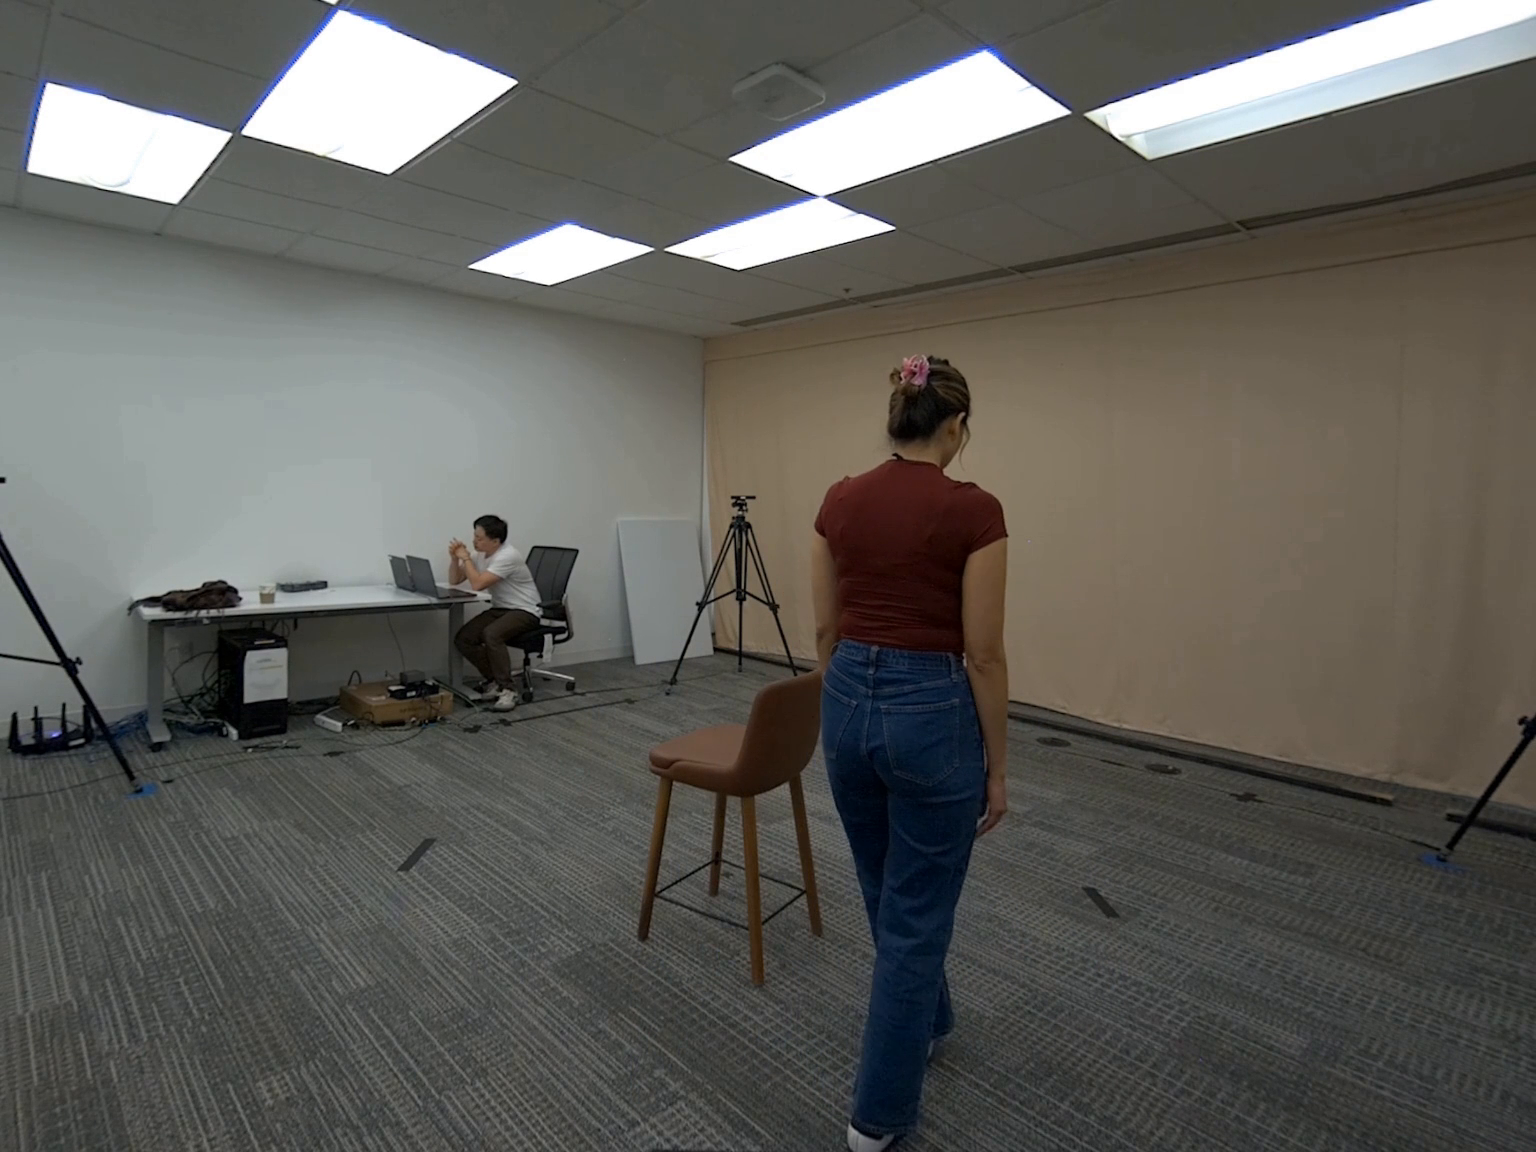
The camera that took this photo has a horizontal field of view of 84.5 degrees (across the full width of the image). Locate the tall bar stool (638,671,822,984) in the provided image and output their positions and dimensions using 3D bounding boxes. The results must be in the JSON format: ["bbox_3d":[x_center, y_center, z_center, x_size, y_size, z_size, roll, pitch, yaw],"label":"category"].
[{"bbox_3d":[-0.103,0.710,2.640,0.479,0.886,0.447,6,6,34],"label":"tall bar stool"}]
